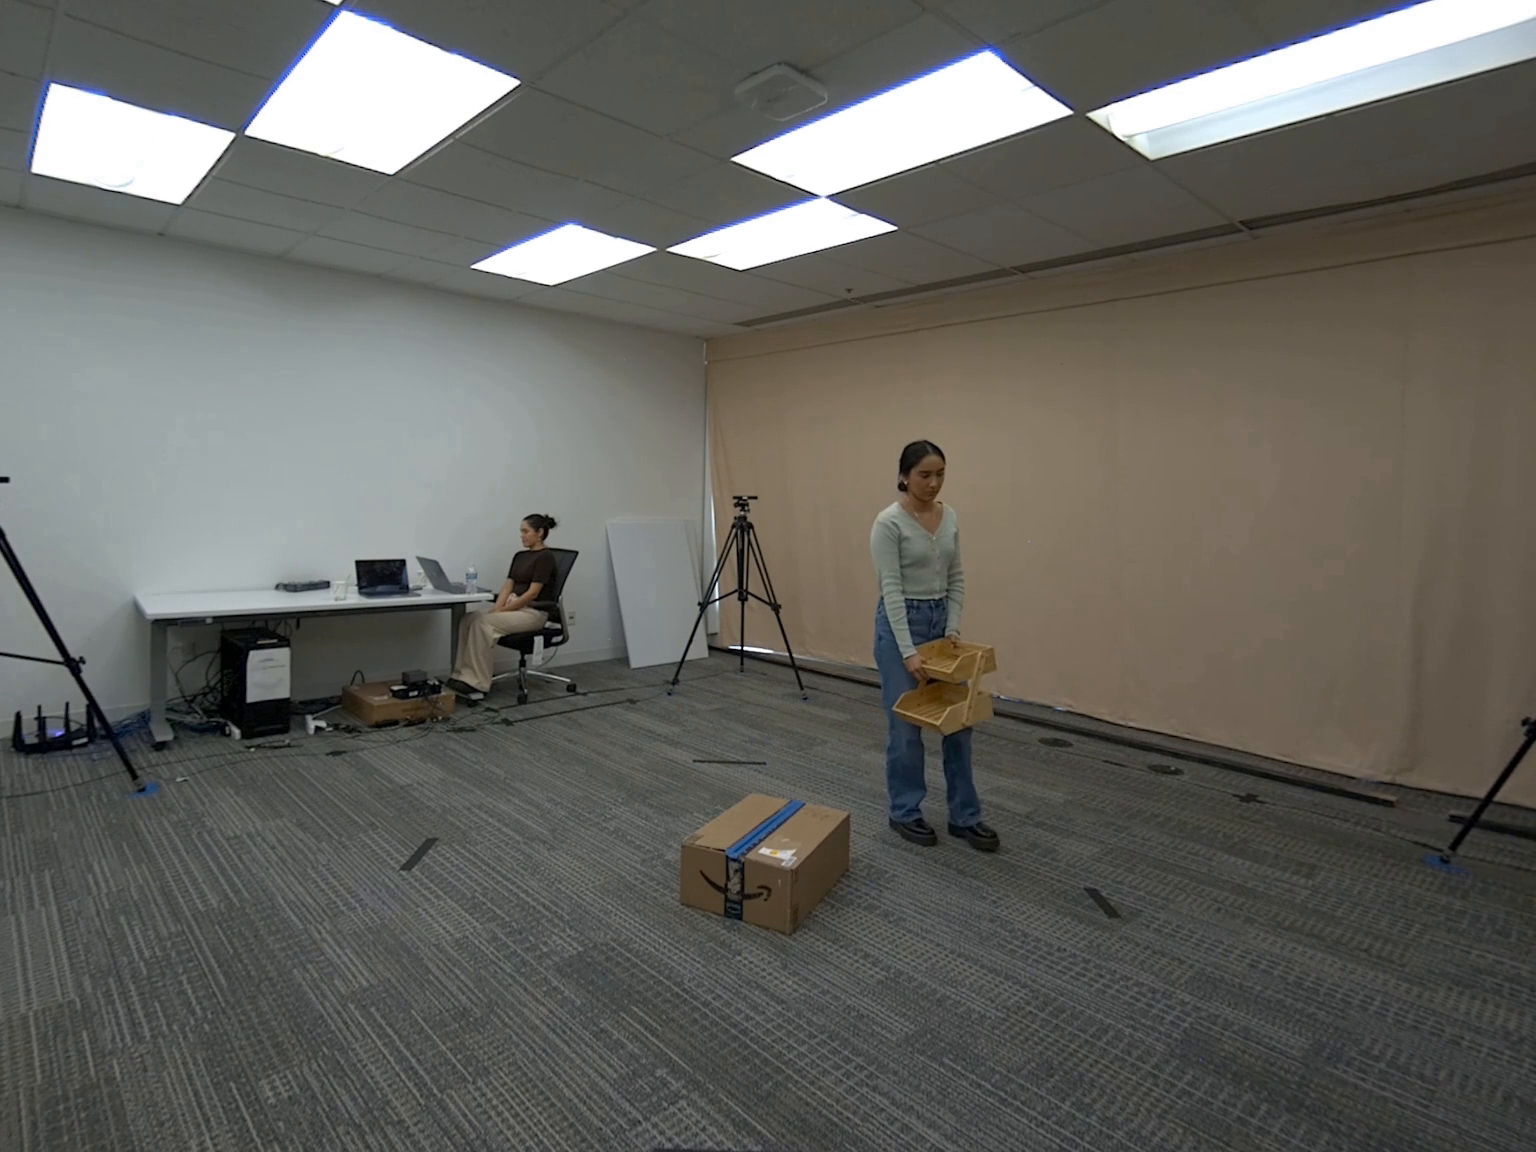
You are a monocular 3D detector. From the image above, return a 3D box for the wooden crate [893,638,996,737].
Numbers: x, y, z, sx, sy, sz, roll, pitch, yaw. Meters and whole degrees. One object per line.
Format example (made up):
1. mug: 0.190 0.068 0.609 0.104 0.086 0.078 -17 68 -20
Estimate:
1. wooden crate: 0.662 0.414 3.253 0.298 0.272 0.330 -14 8 -24
